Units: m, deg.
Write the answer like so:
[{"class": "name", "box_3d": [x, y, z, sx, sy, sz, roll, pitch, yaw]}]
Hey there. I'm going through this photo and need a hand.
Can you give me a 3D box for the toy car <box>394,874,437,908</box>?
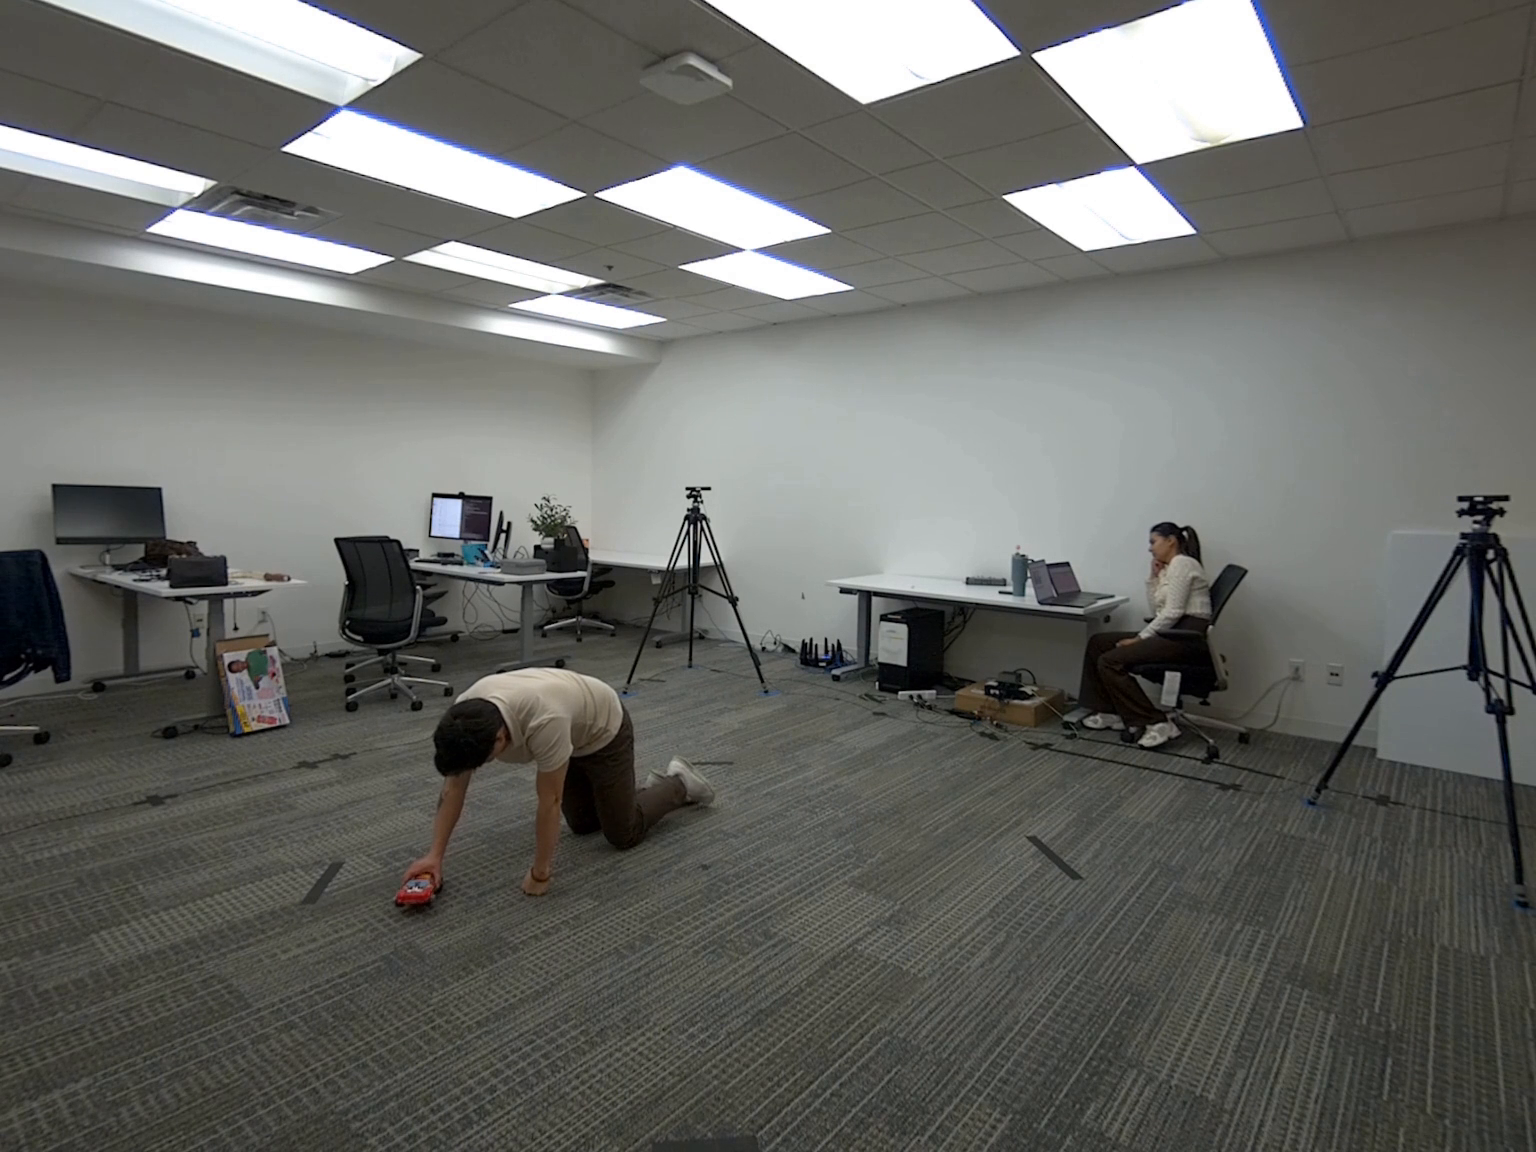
[{"class": "toy car", "box_3d": [-1.178, 1.044, 2.855, 0.129, 0.083, 0.259, 0, 8, -10]}]
